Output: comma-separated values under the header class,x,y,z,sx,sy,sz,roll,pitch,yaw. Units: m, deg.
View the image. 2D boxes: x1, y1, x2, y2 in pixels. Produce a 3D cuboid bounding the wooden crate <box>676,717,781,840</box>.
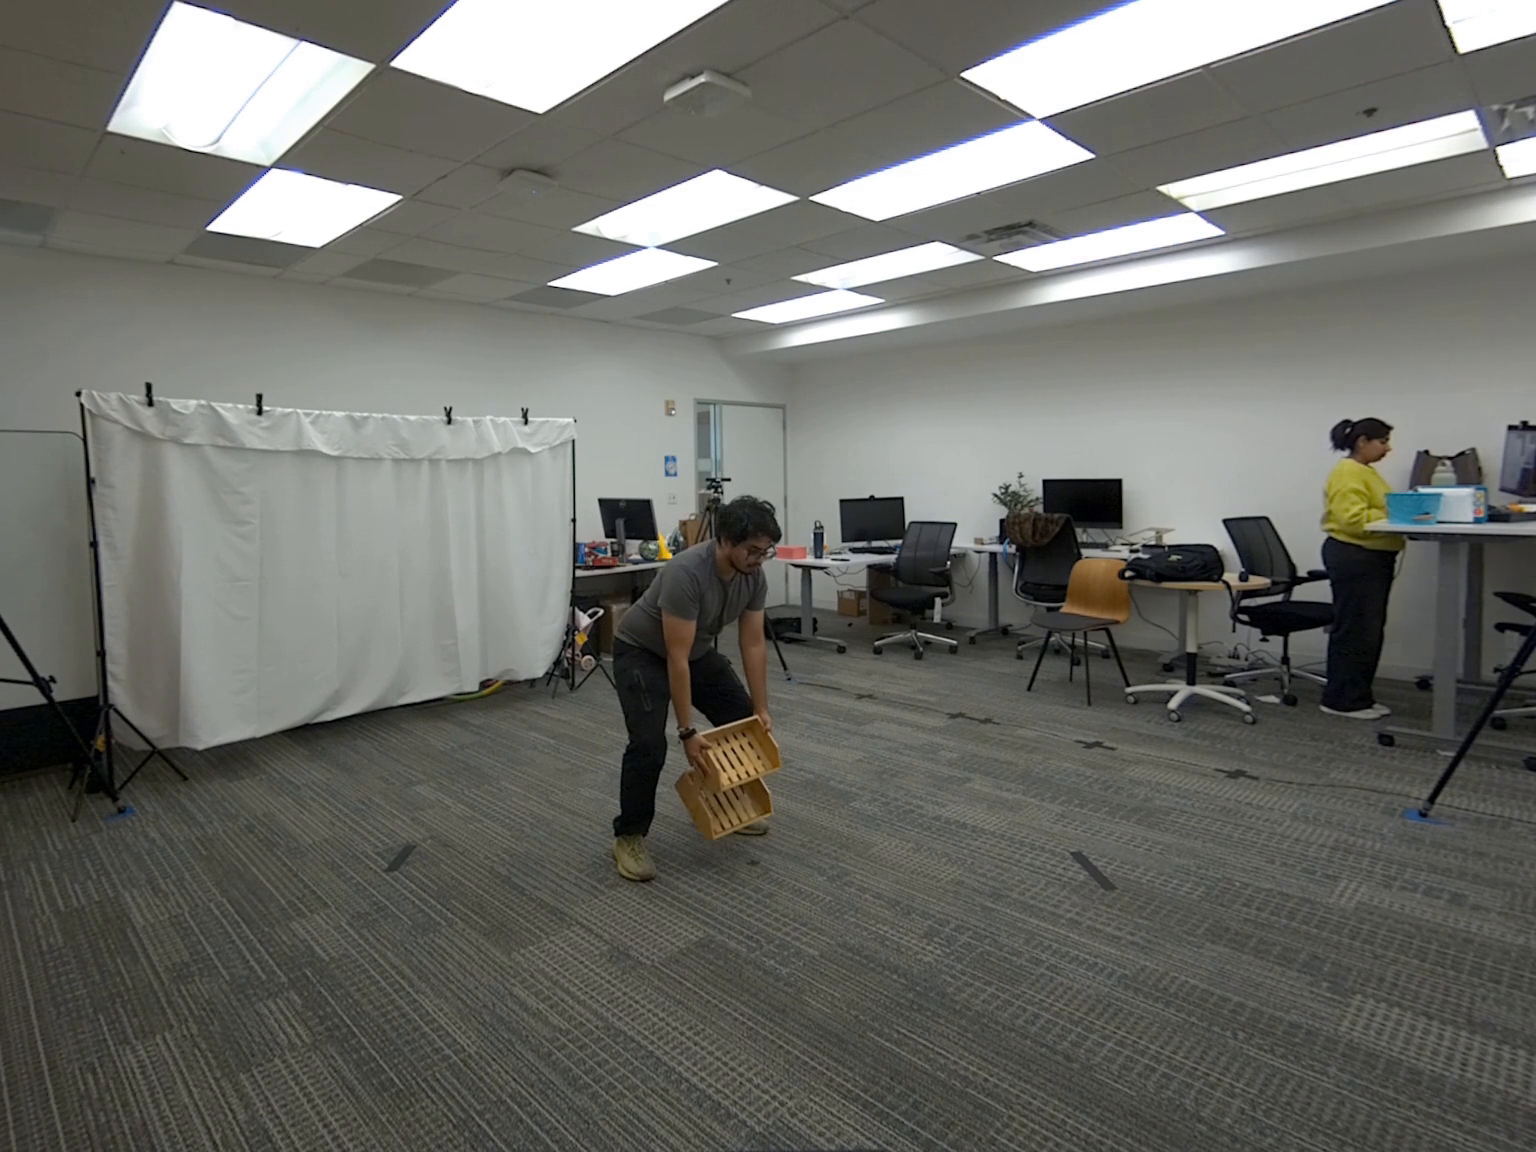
class,x,y,z,sx,sy,sz,roll,pitch,yaw
wooden crate,-0.116,0.731,3.089,0.316,0.271,0.312,-8,51,-44
